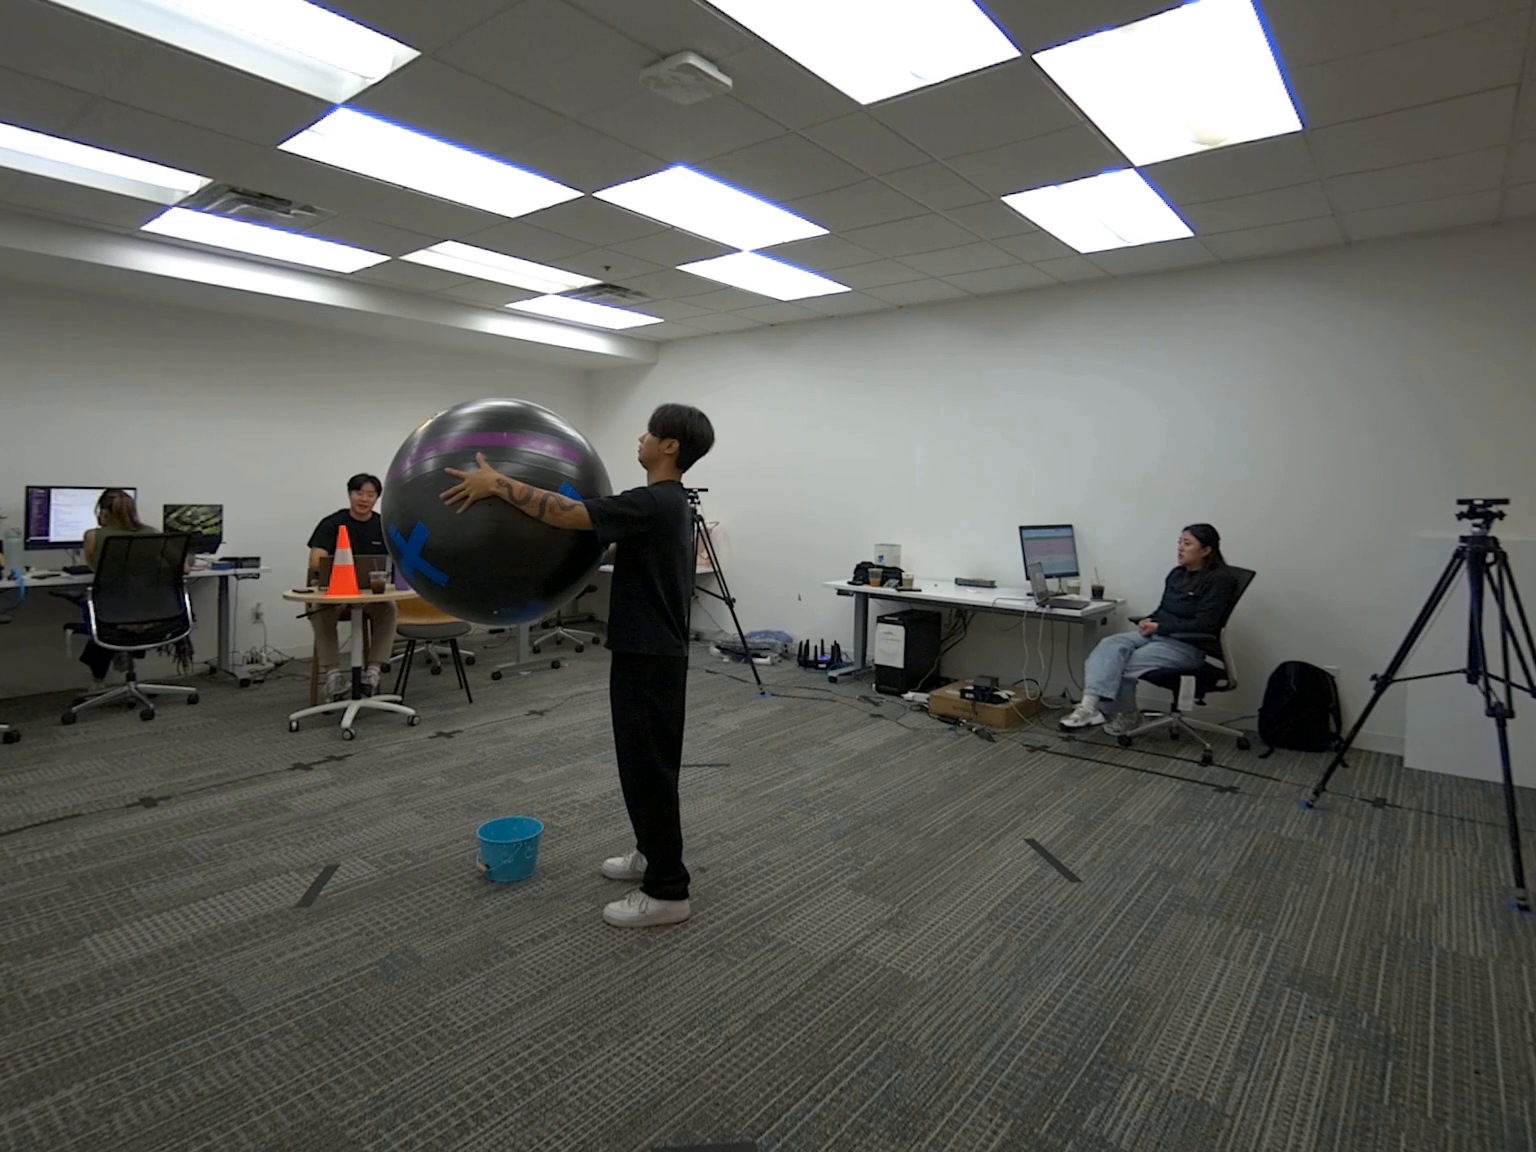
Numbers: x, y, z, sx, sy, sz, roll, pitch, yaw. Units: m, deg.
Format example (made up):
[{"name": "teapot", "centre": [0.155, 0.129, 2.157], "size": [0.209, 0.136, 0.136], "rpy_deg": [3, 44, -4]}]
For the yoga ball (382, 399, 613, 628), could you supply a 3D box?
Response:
[{"name": "yoga ball", "centre": [-0.923, -0.211, 2.863], "size": [0.757, 0.756, 0.762], "rpy_deg": [1, 4, -2]}]
